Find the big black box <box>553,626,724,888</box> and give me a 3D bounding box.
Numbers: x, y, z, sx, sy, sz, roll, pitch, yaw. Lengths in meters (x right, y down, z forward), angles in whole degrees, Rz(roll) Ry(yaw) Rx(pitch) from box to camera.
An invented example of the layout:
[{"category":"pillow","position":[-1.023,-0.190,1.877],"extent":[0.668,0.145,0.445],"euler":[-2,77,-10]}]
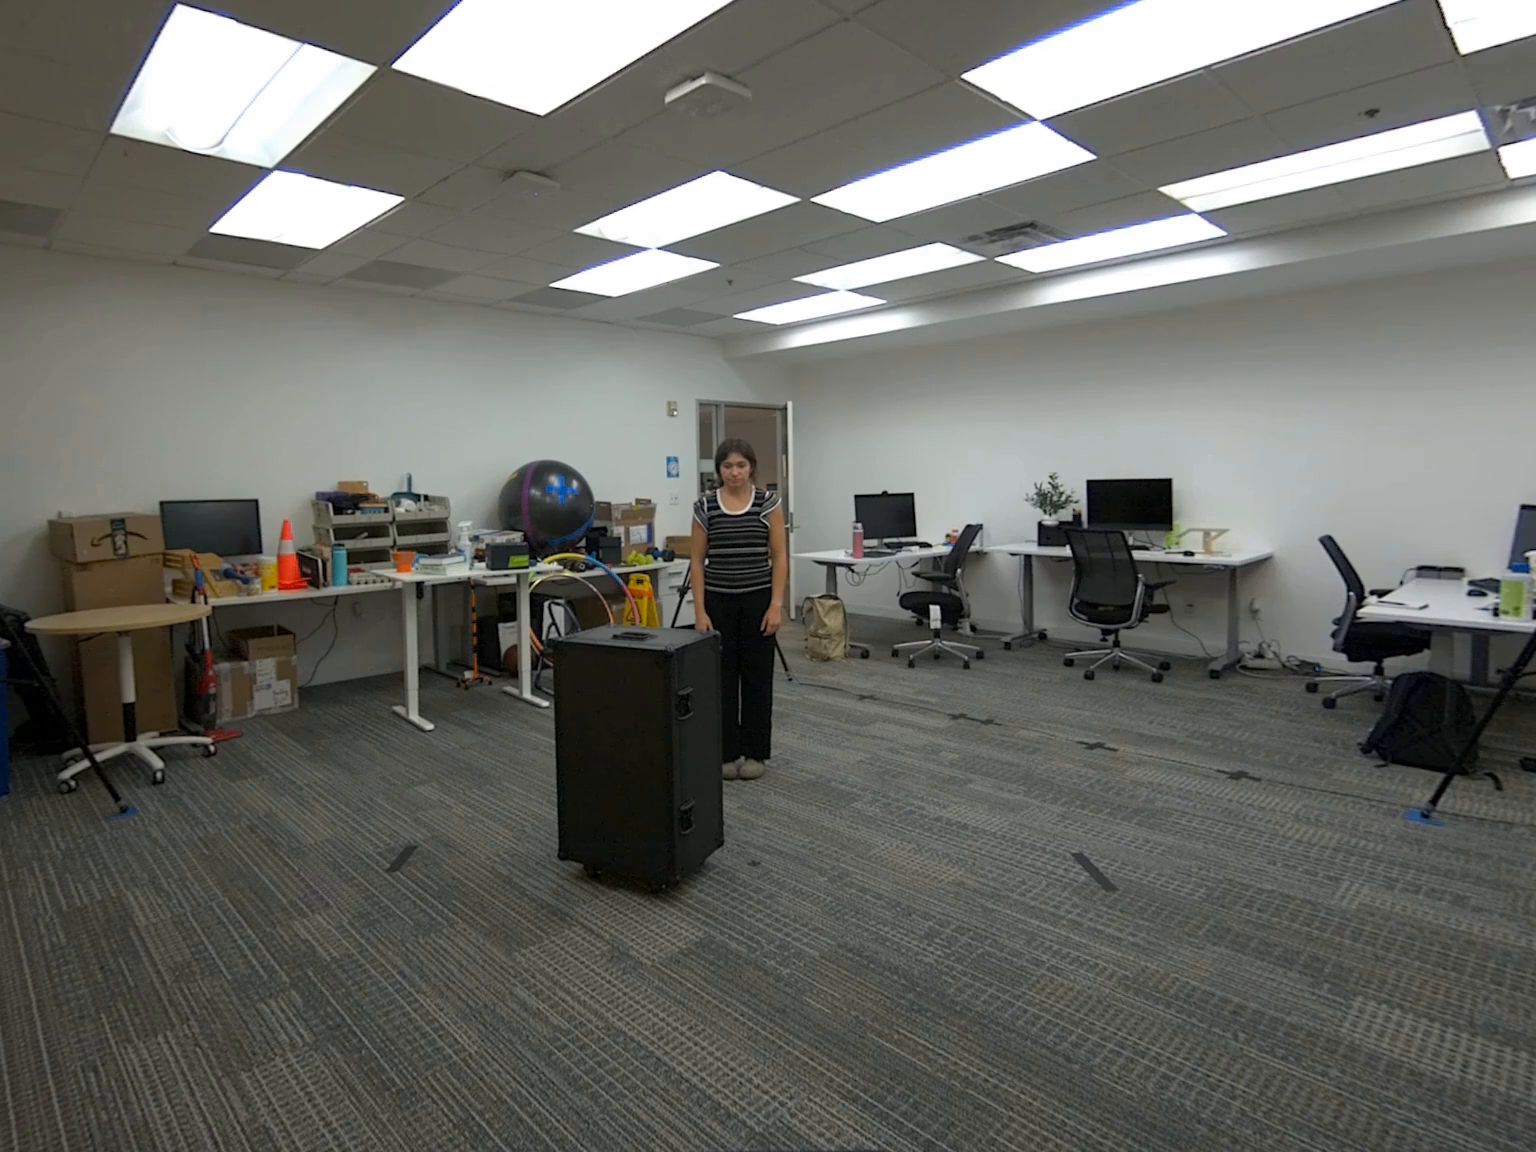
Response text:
[{"category":"big black box","position":[-0.459,0.632,3.047],"extent":[0.534,0.859,0.388],"euler":[1,3,27]}]
